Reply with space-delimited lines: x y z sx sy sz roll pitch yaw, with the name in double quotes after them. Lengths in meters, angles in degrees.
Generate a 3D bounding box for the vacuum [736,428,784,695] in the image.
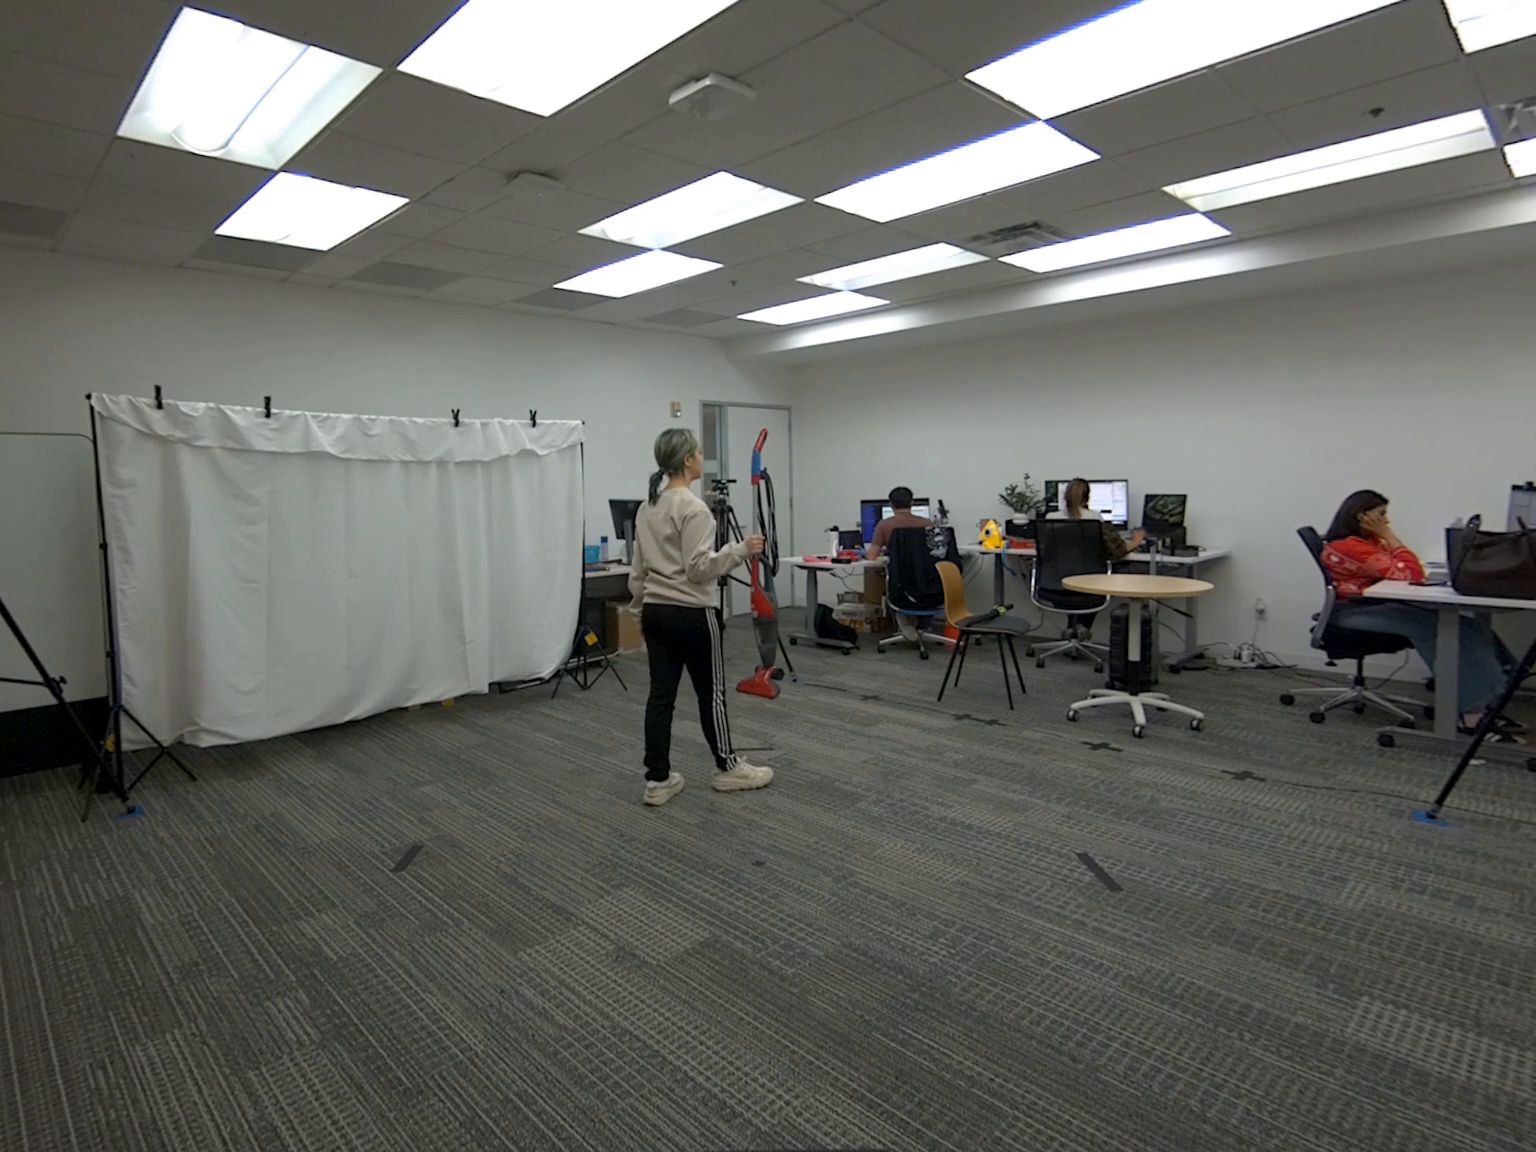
-0.013 -0.088 3.565 0.140 1.051 0.259 3 -3 -38 "vacuum"
